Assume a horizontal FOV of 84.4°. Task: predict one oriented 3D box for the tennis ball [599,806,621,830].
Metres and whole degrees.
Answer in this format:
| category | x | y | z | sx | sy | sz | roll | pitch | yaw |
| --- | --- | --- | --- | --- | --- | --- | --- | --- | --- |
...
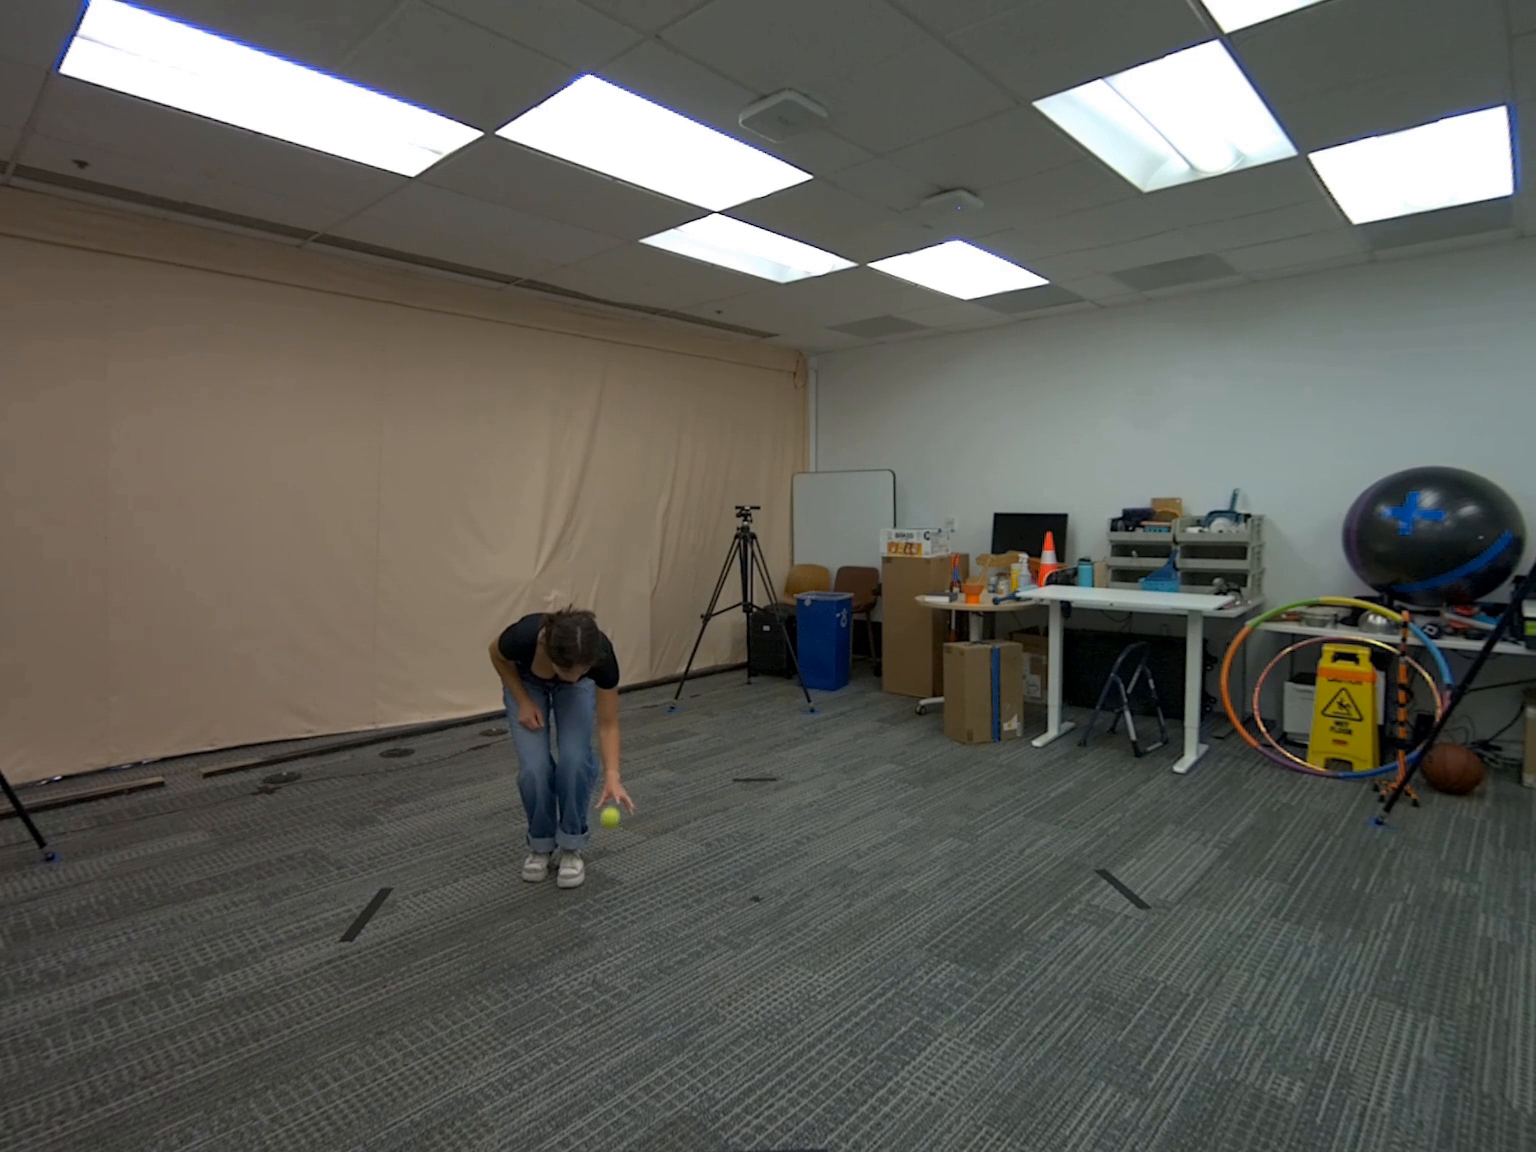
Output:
| category | x | y | z | sx | sy | sz | roll | pitch | yaw |
| --- | --- | --- | --- | --- | --- | --- | --- | --- | --- |
| tennis ball | -0.531 | 0.818 | 2.747 | 0.066 | 0.066 | 0.067 | 0 | 4 | -2 |
